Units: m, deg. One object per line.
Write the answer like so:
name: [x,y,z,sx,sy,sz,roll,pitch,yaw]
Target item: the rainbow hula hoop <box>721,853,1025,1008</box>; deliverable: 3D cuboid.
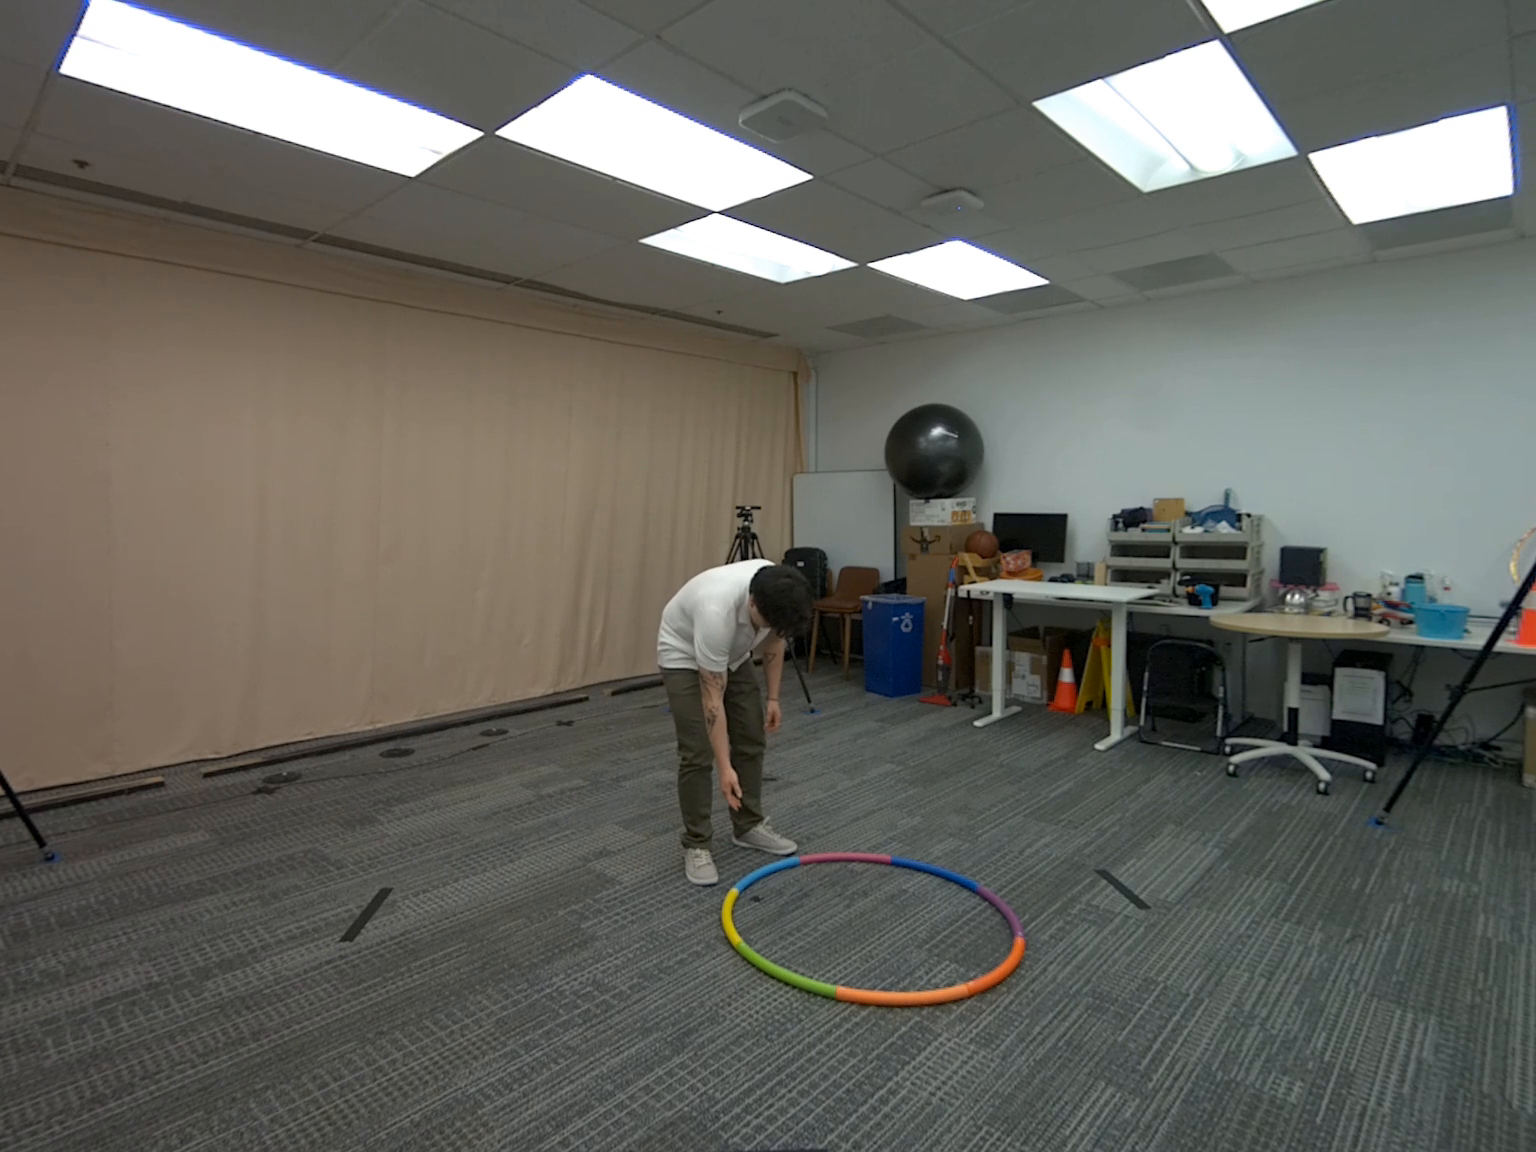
rainbow hula hoop: [0.335,1.126,2.825,0.978,0.035,0.982,0,5,-2]
